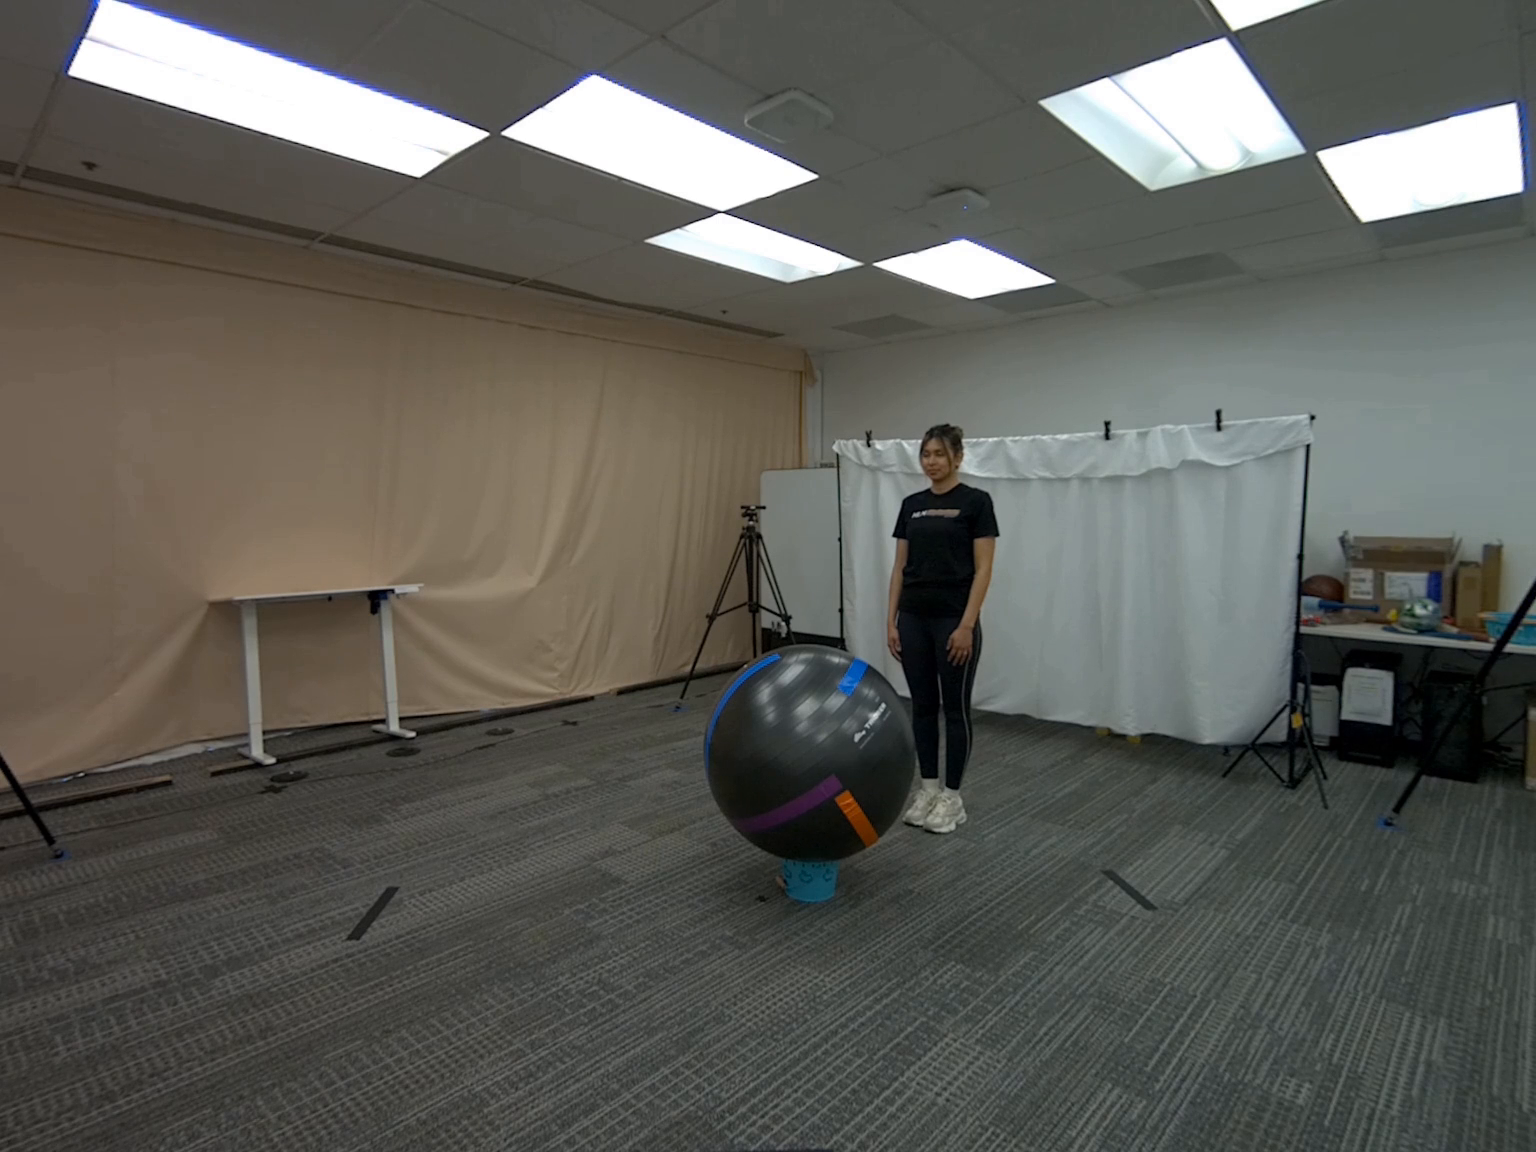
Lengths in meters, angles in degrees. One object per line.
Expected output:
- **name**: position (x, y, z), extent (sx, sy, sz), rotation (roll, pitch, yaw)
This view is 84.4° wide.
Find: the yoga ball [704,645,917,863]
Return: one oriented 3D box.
- **yoga ball**: position (0.146, 0.628, 3.025), extent (0.757, 0.756, 0.760), rotation (0, 4, -2)
